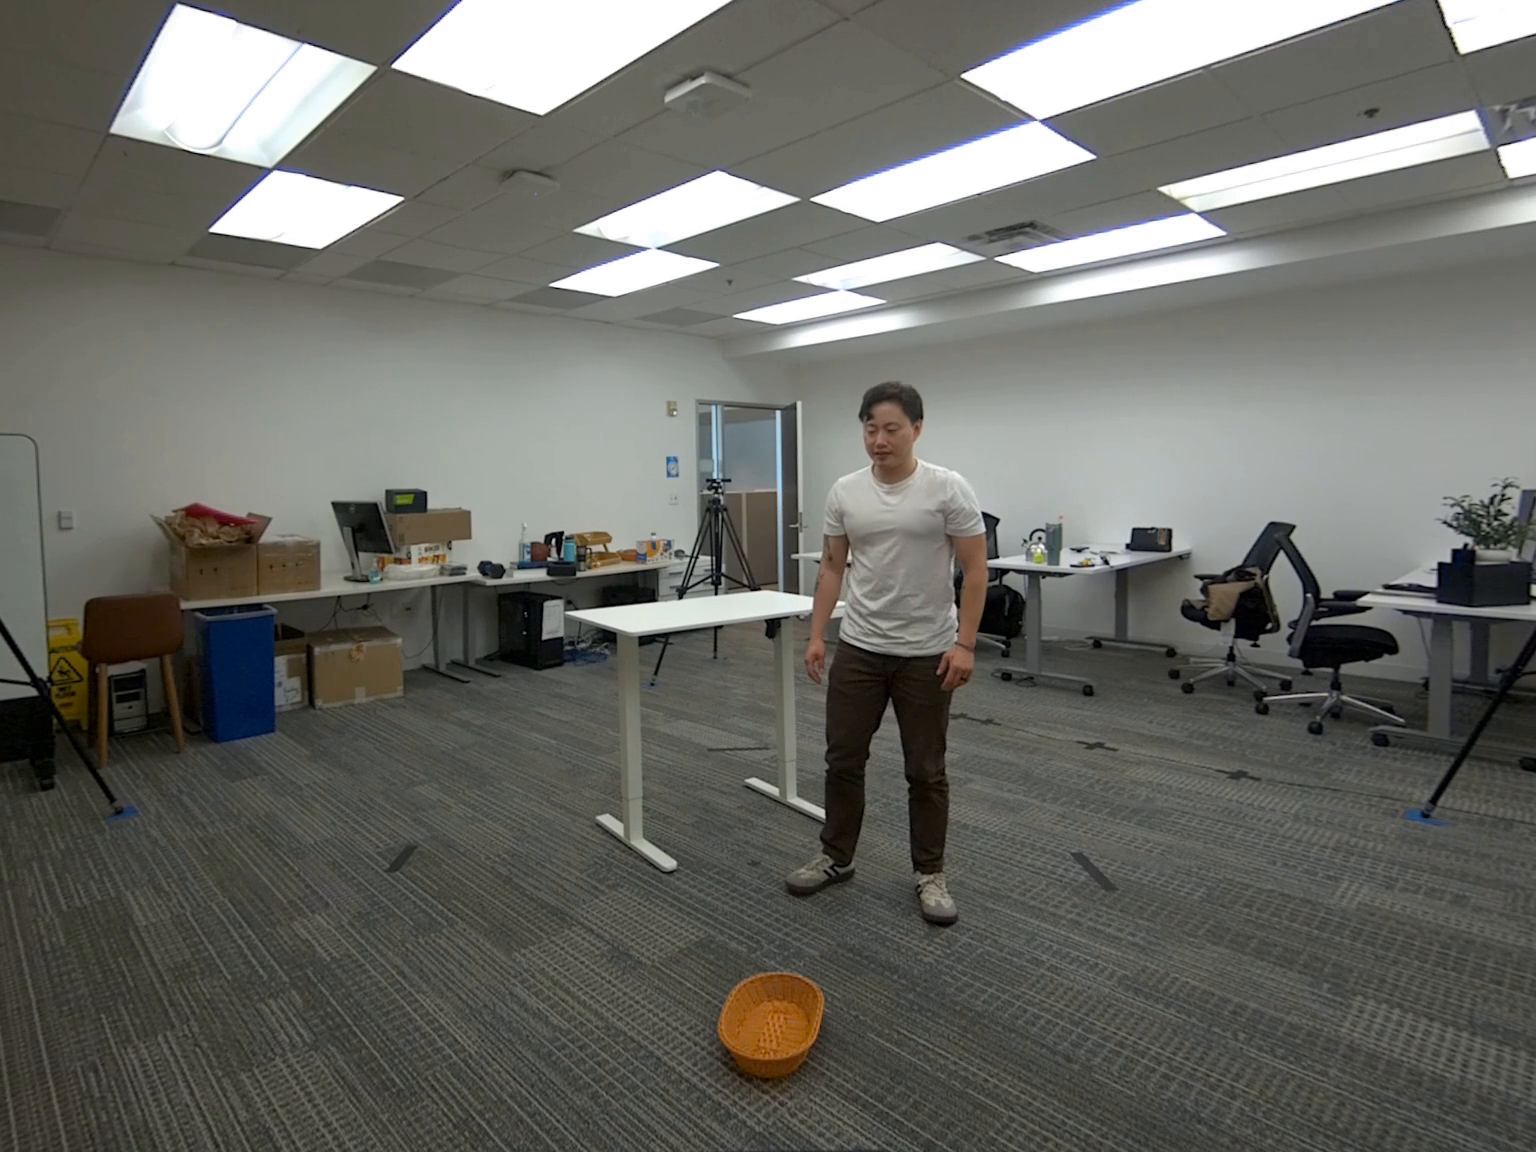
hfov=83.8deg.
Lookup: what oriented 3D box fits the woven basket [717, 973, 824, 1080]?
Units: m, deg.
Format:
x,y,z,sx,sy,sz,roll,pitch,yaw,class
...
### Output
x,y,z,sx,sy,sz,roll,pitch,yaw,class
0.015,1.121,2.132,0.256,0.073,0.347,-1,7,14,woven basket
